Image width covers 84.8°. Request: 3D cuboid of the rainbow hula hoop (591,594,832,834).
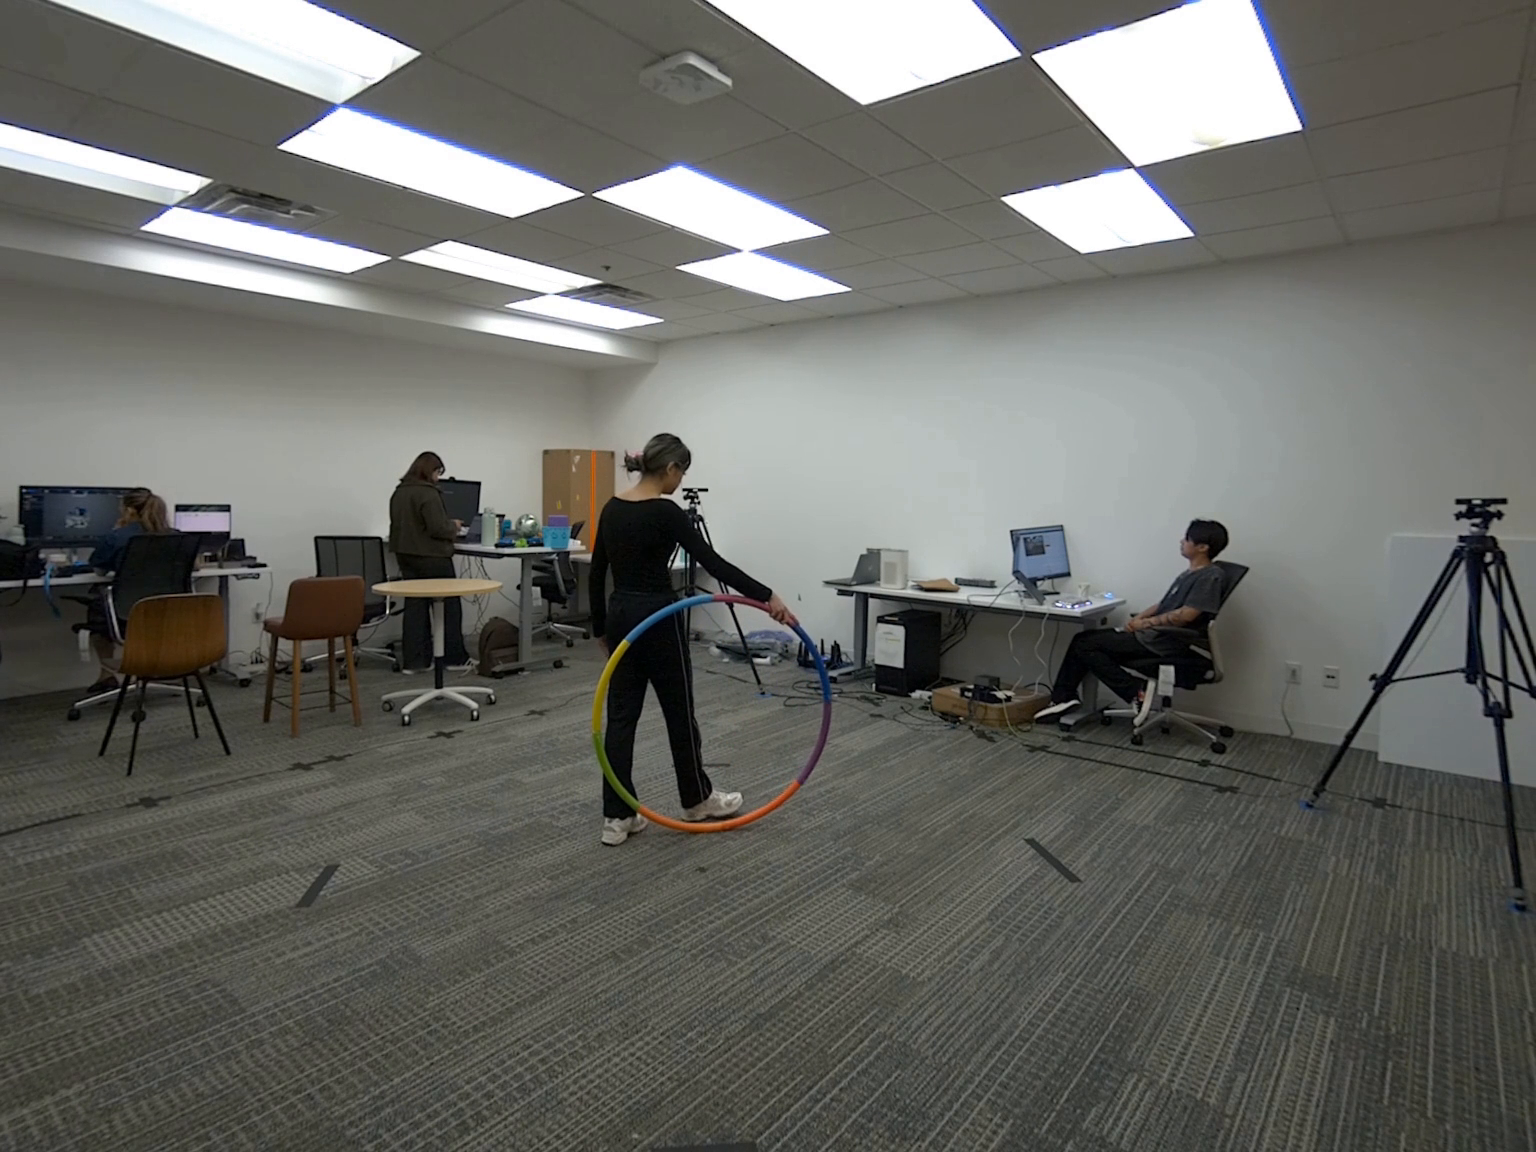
[{"bbox_3d":[-0.201,0.550,3.391,0.965,0.972,0.036,0,7,-13],"label":"rainbow hula hoop"}]
